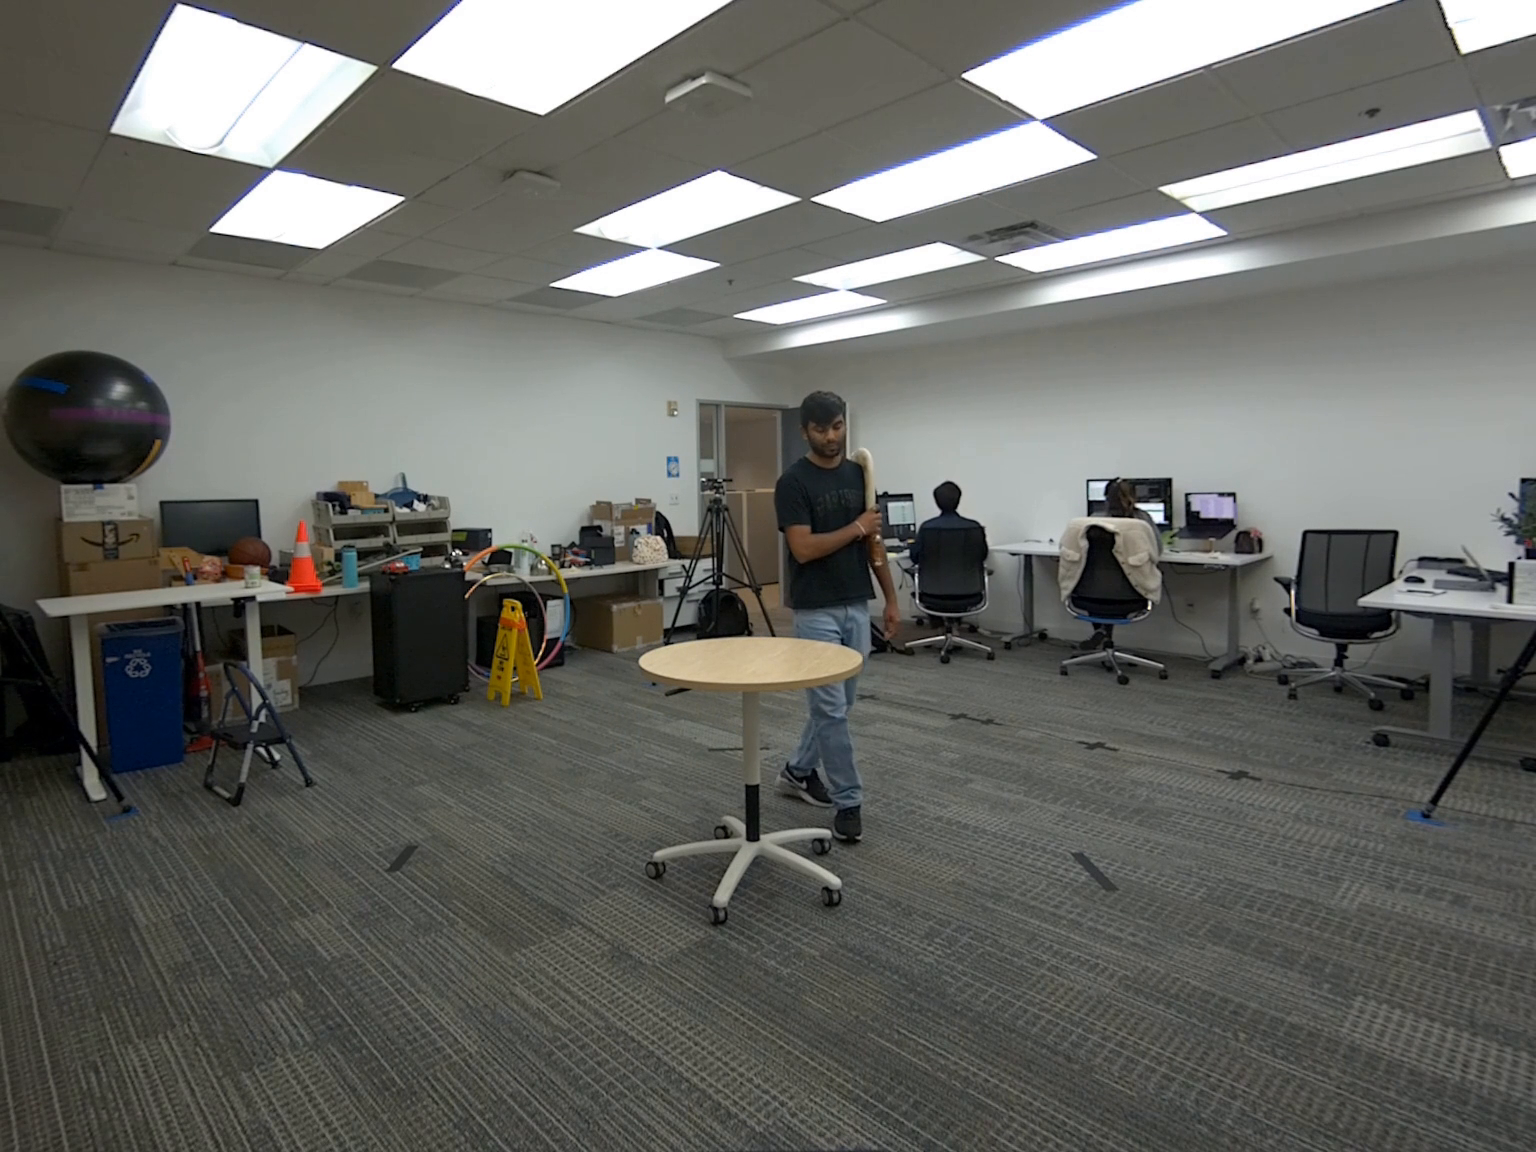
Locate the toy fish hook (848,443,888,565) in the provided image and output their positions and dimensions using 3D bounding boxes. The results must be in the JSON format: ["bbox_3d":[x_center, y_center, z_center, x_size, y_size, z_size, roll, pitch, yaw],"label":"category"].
[{"bbox_3d":[0.407,-0.275,3.533,0.048,0.510,0.225,-3,-7,-11],"label":"toy fish hook"}]
